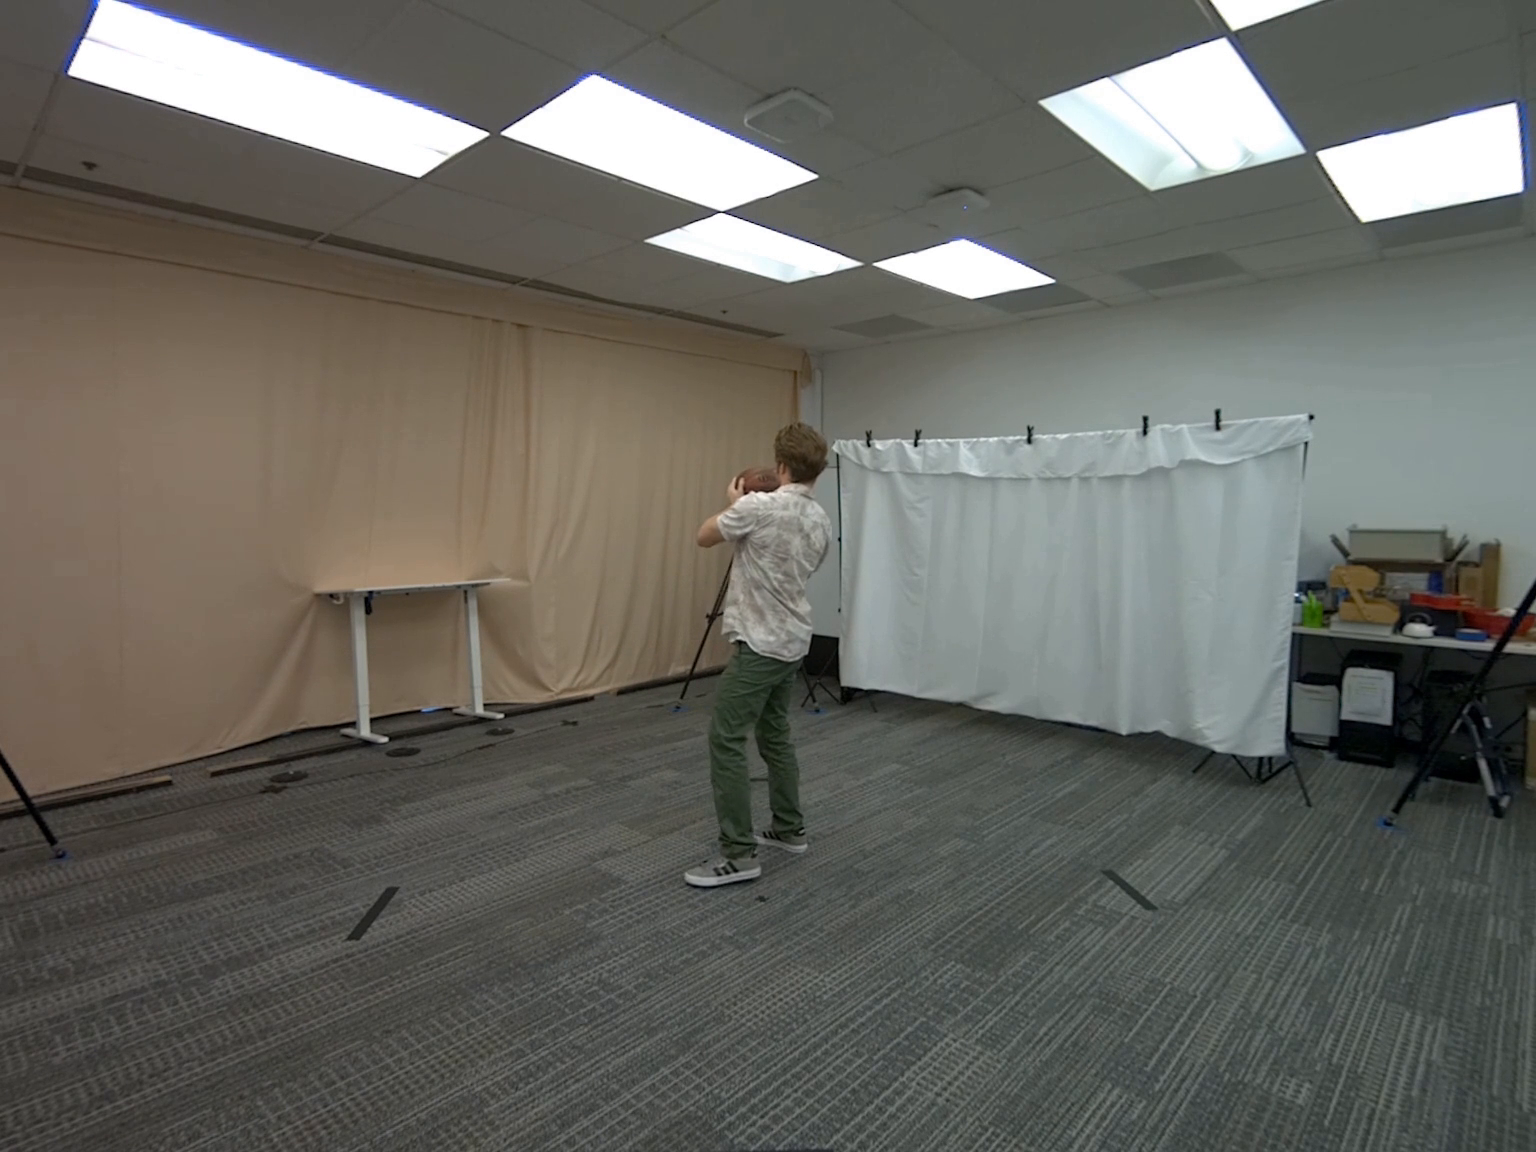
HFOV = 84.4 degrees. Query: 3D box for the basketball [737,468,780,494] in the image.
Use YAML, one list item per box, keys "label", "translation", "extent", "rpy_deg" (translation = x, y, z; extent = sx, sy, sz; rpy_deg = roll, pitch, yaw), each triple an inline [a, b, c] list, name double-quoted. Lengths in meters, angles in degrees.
- label: "basketball"
  translation: [-0.043, -0.350, 3.620]
  extent: [0.236, 0.235, 0.237]
  rpy_deg: [0, 4, -2]
